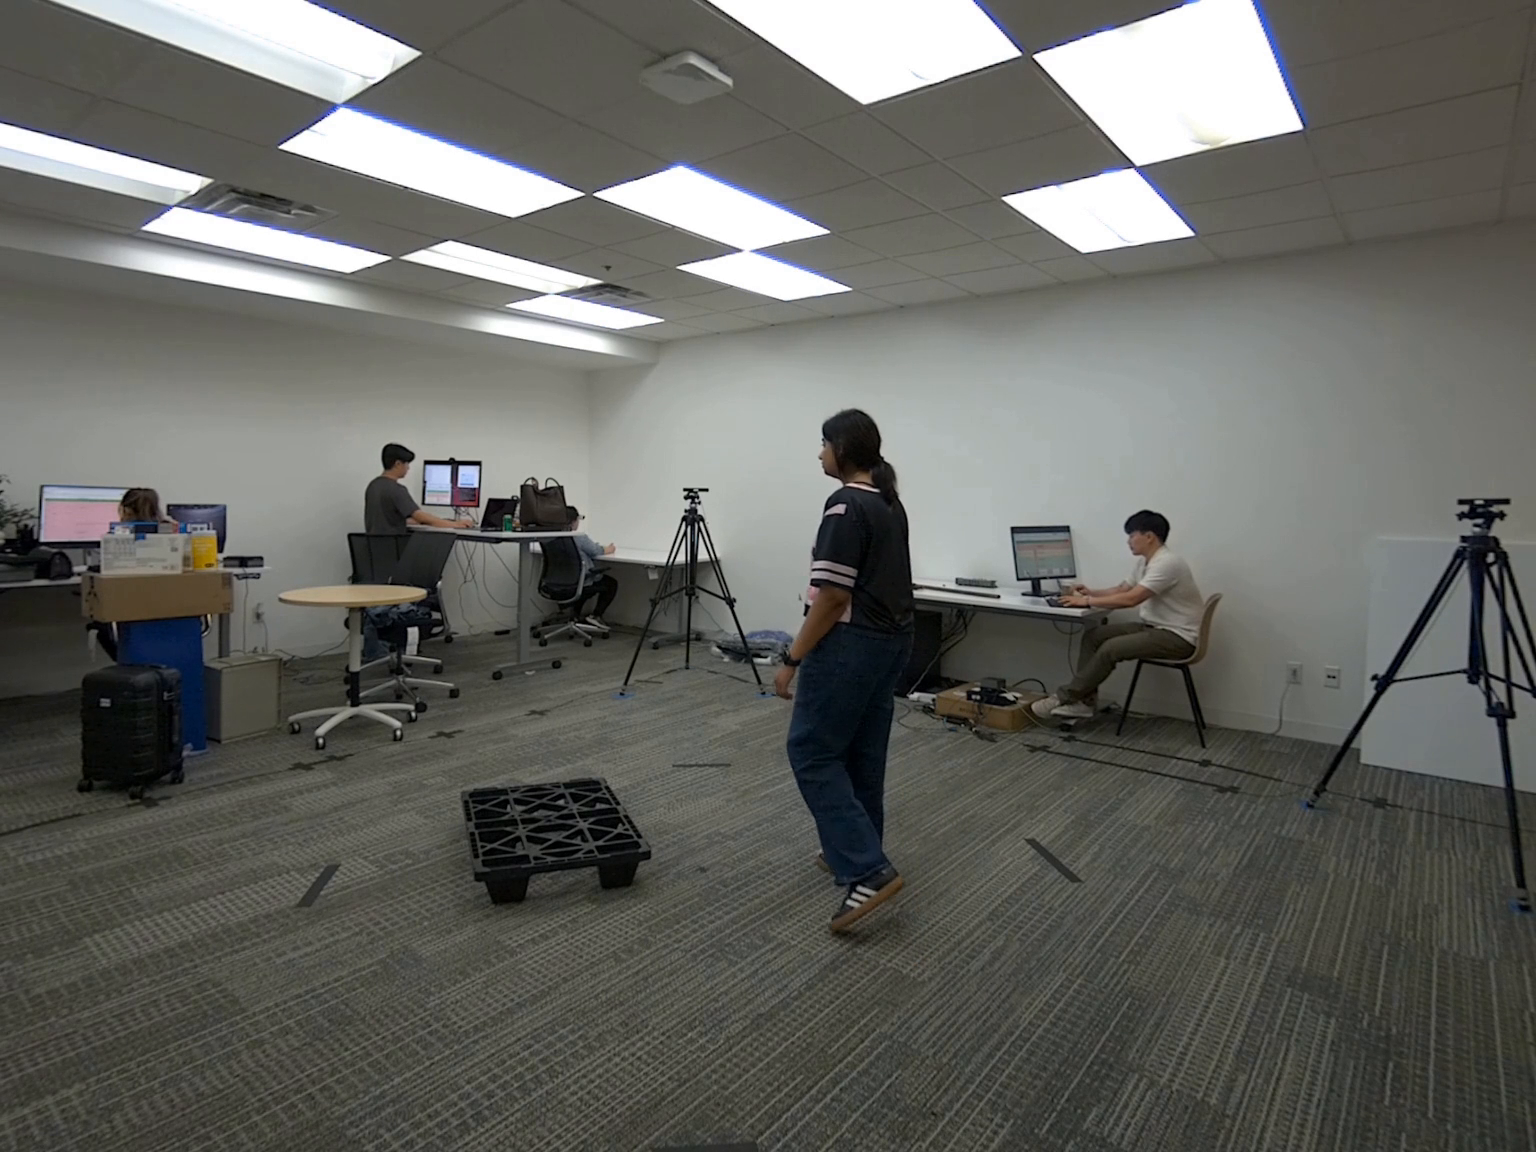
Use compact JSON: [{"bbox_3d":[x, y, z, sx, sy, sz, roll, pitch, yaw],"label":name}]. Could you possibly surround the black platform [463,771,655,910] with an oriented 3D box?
[{"bbox_3d":[-0.837,0.975,3.228,0.593,0.143,0.825,-1,6,-21],"label":"black platform"}]
